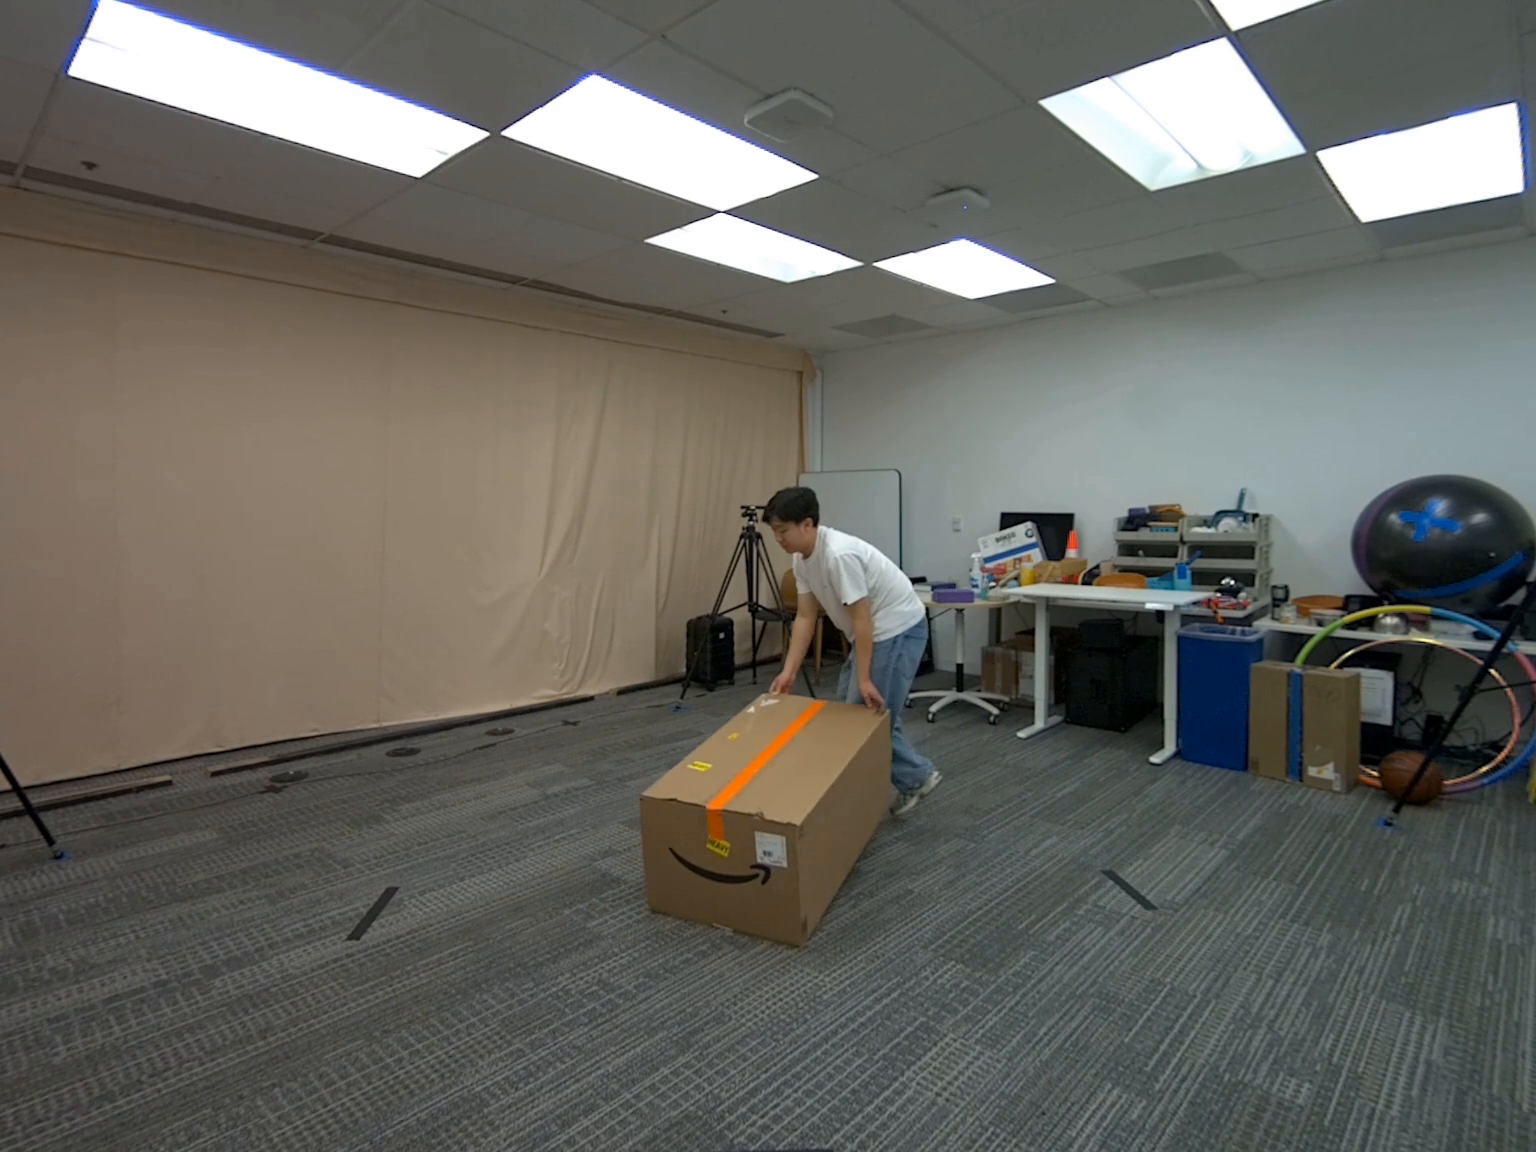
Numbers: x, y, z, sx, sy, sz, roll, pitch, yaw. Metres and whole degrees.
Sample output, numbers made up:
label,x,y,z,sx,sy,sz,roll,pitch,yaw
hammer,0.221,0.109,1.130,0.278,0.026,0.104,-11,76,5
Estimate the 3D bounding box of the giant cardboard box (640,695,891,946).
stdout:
label,x,y,z,sx,sy,sz,roll,pitch,yaw
giant cardboard box,0.041,0.844,3.168,0.592,0.423,1.007,2,13,25
